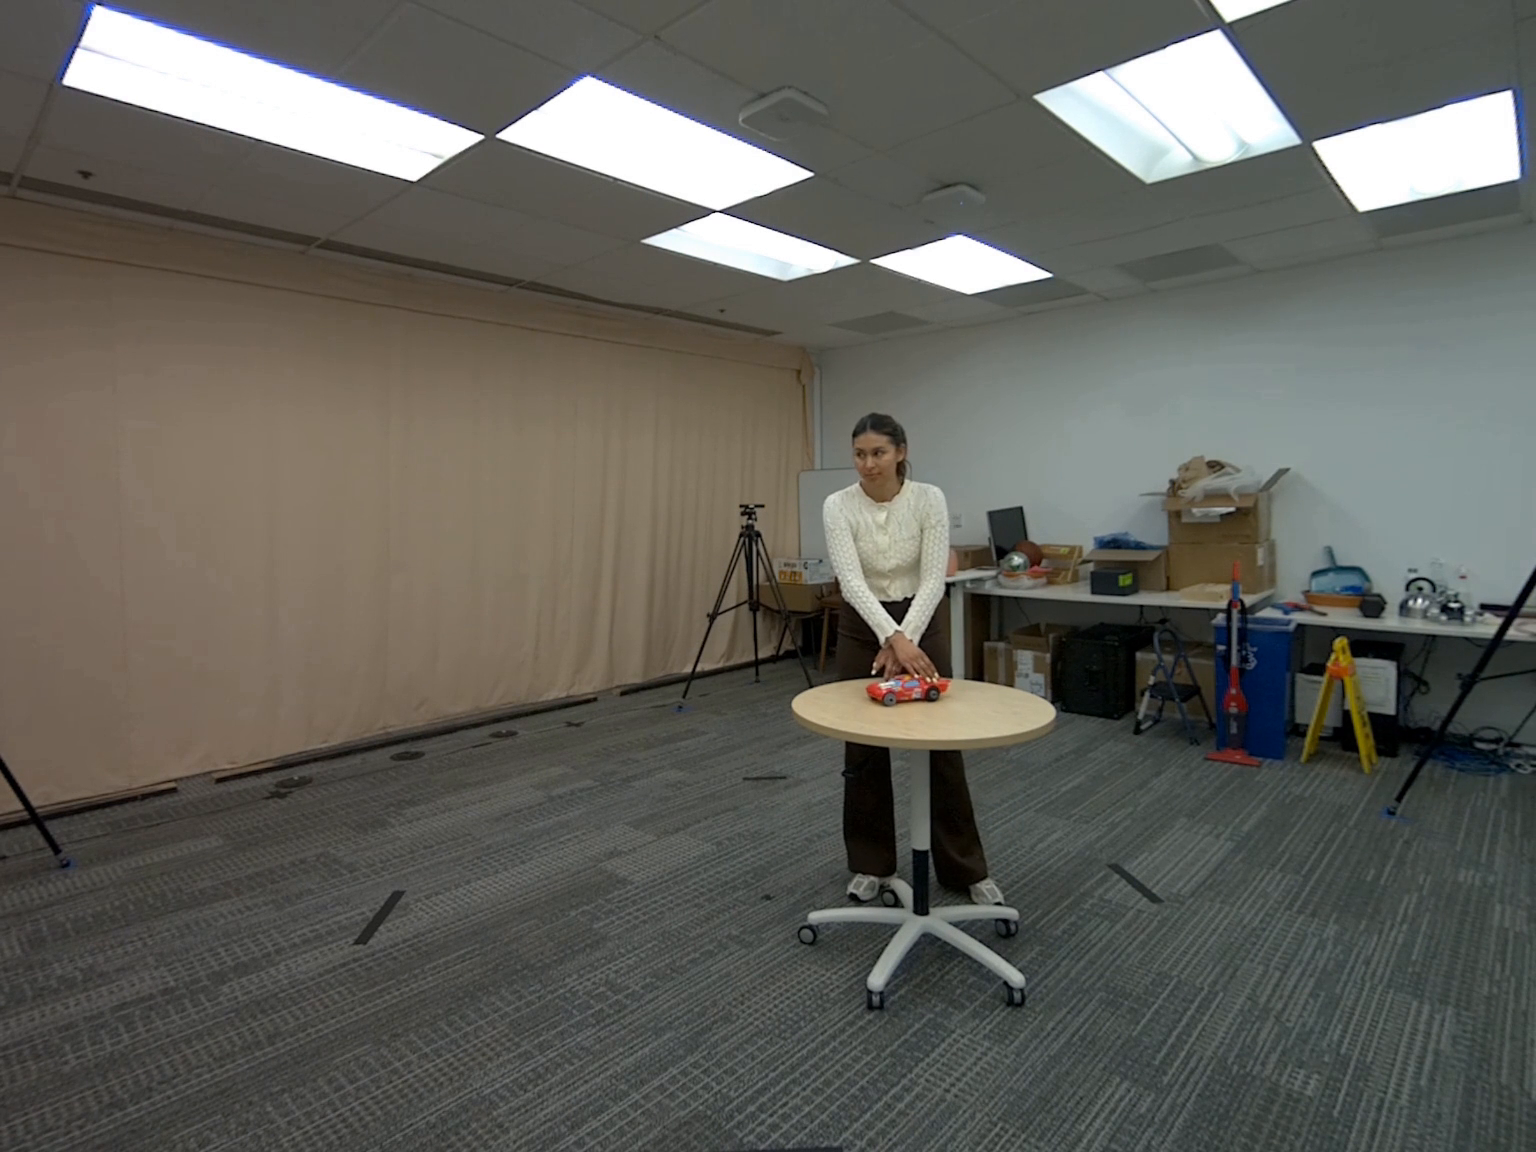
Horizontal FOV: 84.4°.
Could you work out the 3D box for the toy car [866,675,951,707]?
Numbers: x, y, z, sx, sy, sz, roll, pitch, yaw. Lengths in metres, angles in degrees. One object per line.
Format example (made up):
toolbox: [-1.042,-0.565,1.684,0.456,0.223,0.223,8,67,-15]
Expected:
toy car: [0.437,0.348,2.589,0.251,0.083,0.133,-13,8,-15]
